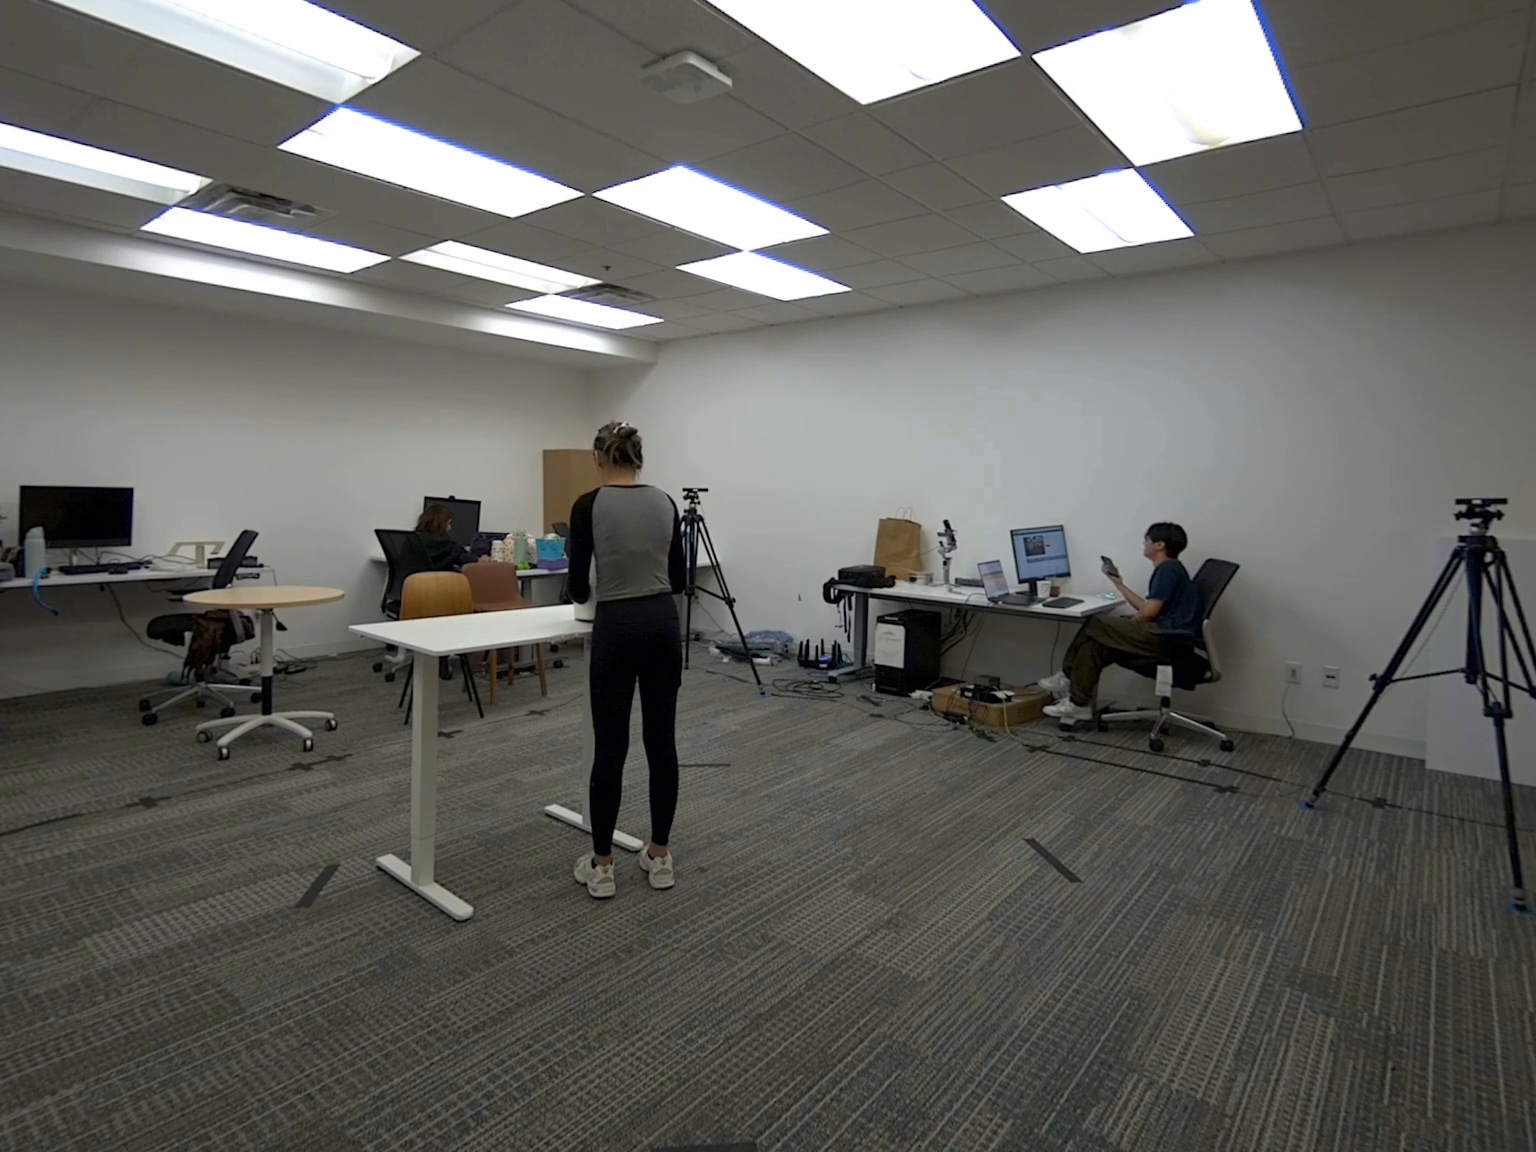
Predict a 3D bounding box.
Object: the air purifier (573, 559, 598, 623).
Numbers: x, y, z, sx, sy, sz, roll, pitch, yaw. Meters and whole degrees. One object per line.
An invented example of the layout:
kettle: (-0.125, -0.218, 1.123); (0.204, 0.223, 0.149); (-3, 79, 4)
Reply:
air purifier: (-0.661, 0.026, 3.266); (0.166, 0.265, 0.177); (0, 0, -38)
